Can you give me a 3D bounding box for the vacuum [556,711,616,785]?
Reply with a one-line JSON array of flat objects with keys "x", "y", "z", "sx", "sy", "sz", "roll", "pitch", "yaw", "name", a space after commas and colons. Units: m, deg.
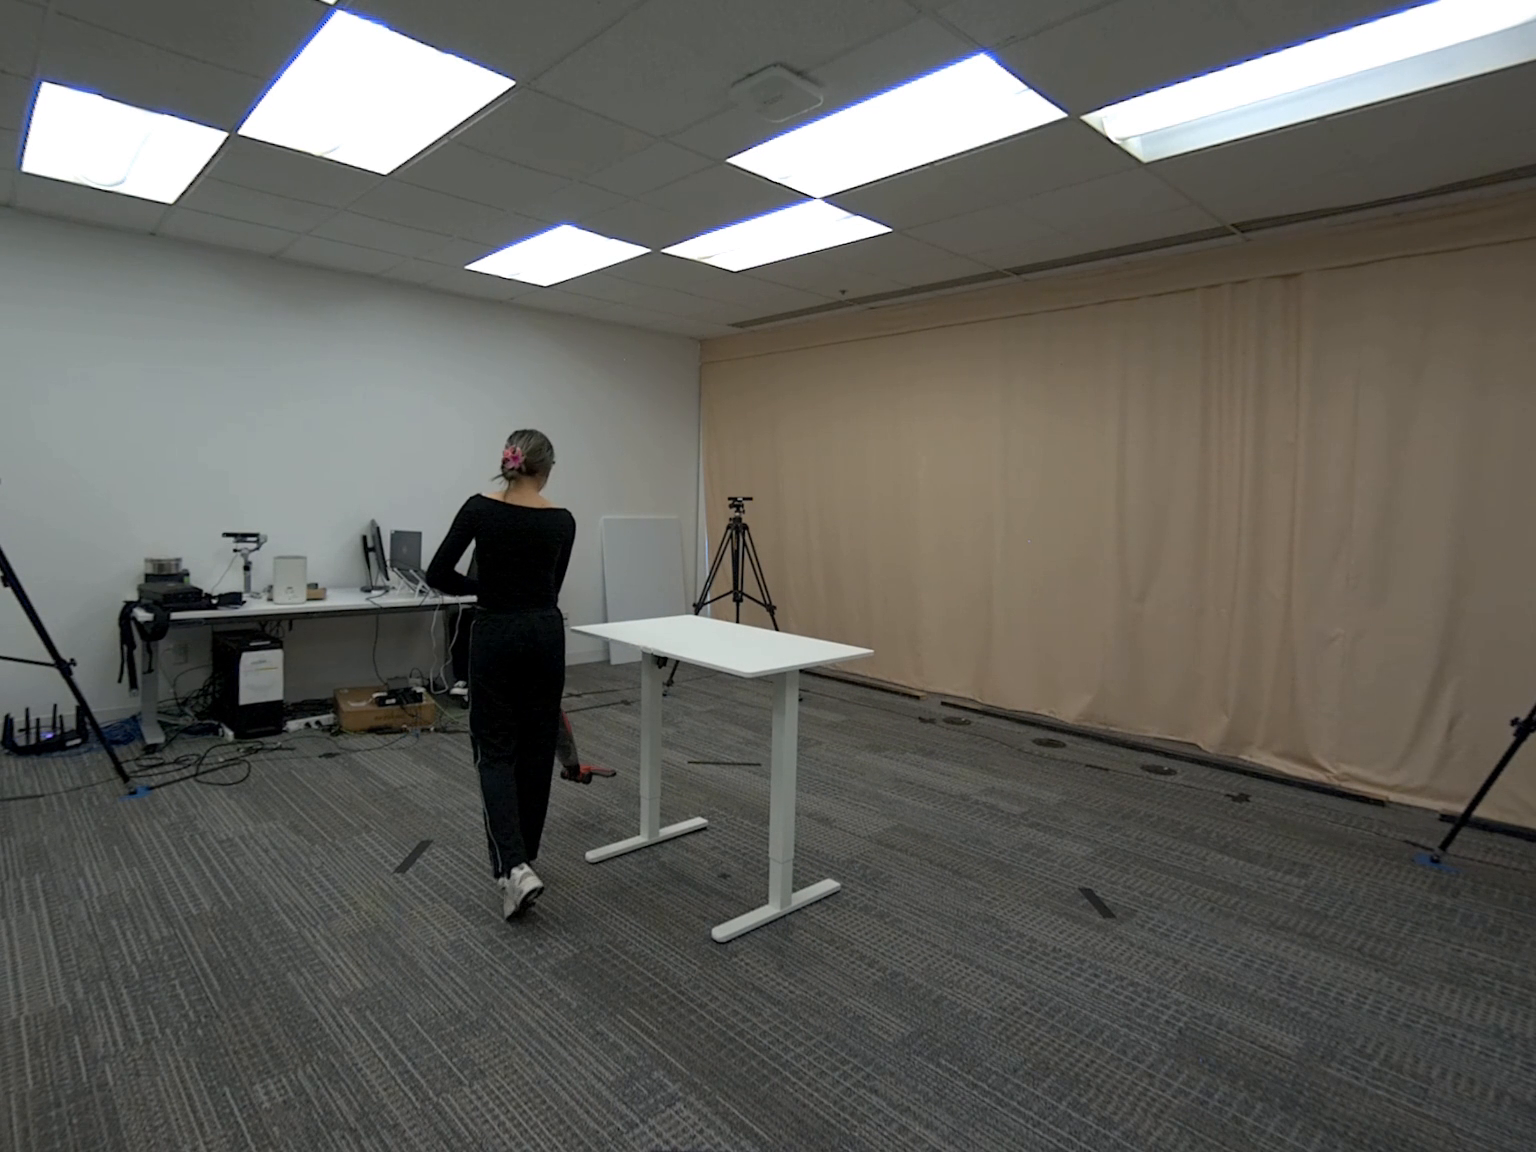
[{"x": -0.913, "y": 0.448, "z": 3.328, "sx": 0.258, "sy": 1.023, "sz": 0.144, "roll": 4, "pitch": 37, "yaw": 29, "name": "vacuum"}]
